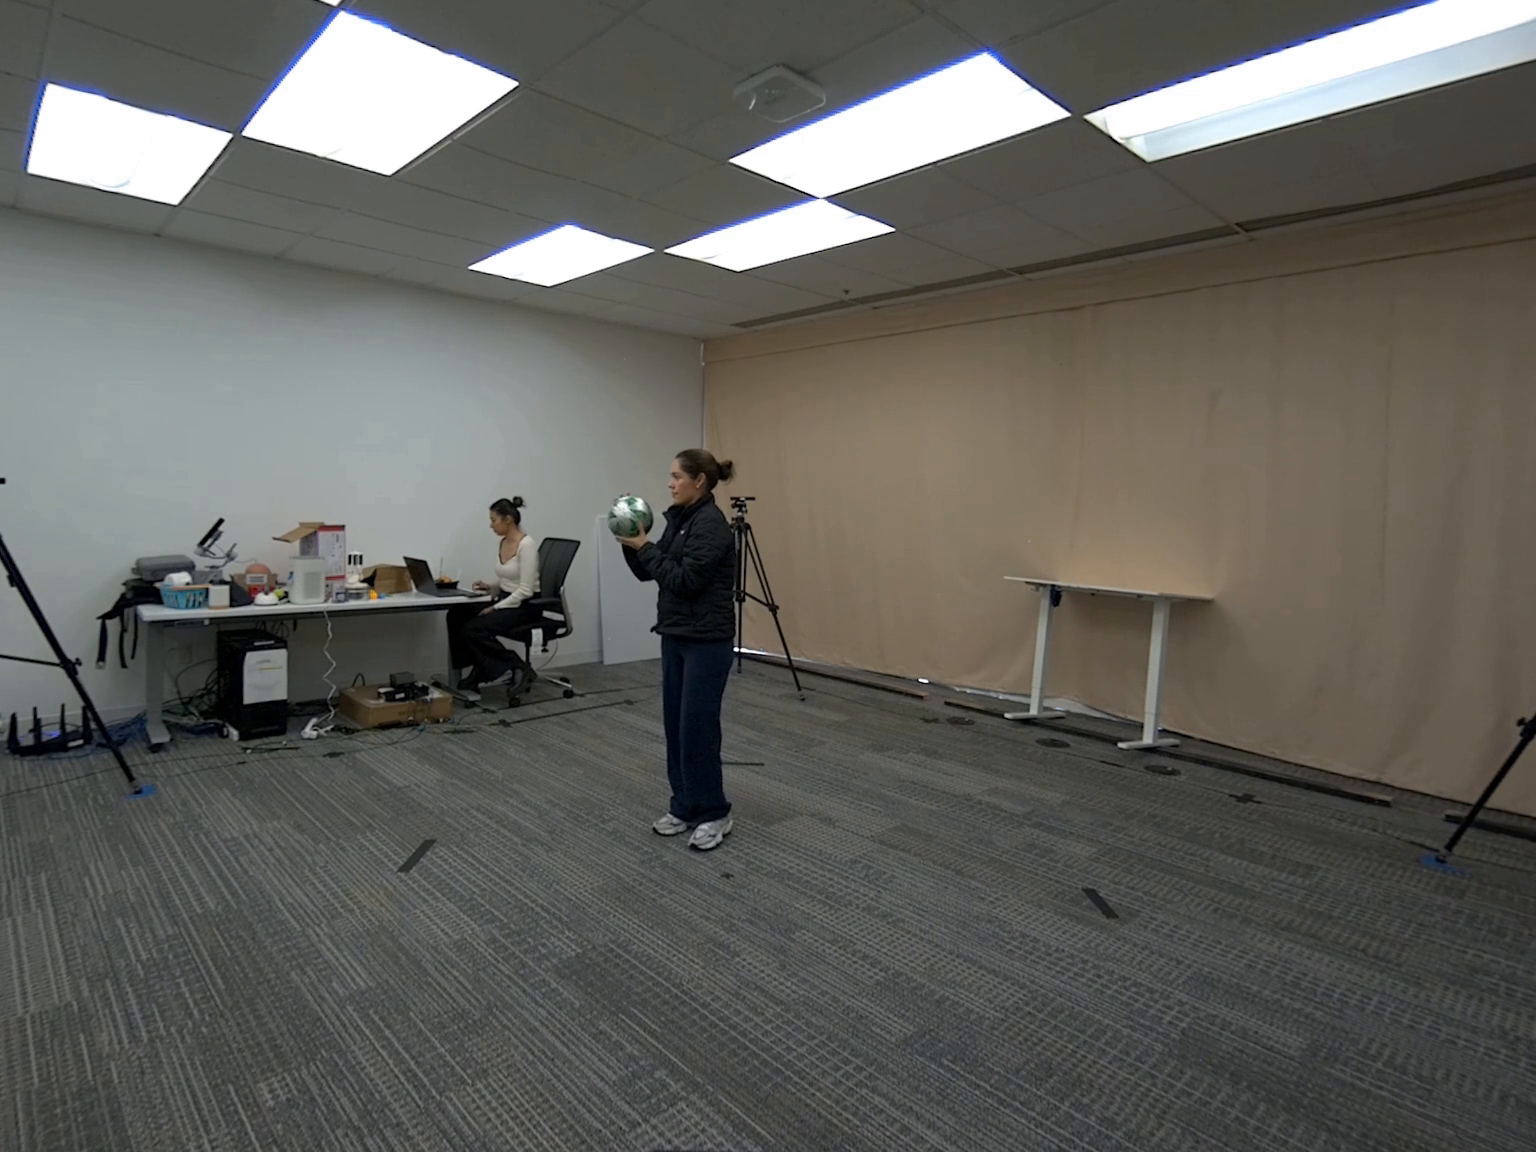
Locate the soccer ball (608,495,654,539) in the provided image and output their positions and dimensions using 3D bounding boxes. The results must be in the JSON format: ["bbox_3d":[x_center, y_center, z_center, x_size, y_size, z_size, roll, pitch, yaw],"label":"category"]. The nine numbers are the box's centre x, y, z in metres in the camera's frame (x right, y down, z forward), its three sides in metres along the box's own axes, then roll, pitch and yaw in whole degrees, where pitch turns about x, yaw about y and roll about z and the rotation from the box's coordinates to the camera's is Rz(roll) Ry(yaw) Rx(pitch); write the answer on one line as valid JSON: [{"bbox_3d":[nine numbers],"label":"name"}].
[{"bbox_3d":[-0.570,-0.237,3.428,0.187,0.187,0.188,1,4,-1],"label":"soccer ball"}]
